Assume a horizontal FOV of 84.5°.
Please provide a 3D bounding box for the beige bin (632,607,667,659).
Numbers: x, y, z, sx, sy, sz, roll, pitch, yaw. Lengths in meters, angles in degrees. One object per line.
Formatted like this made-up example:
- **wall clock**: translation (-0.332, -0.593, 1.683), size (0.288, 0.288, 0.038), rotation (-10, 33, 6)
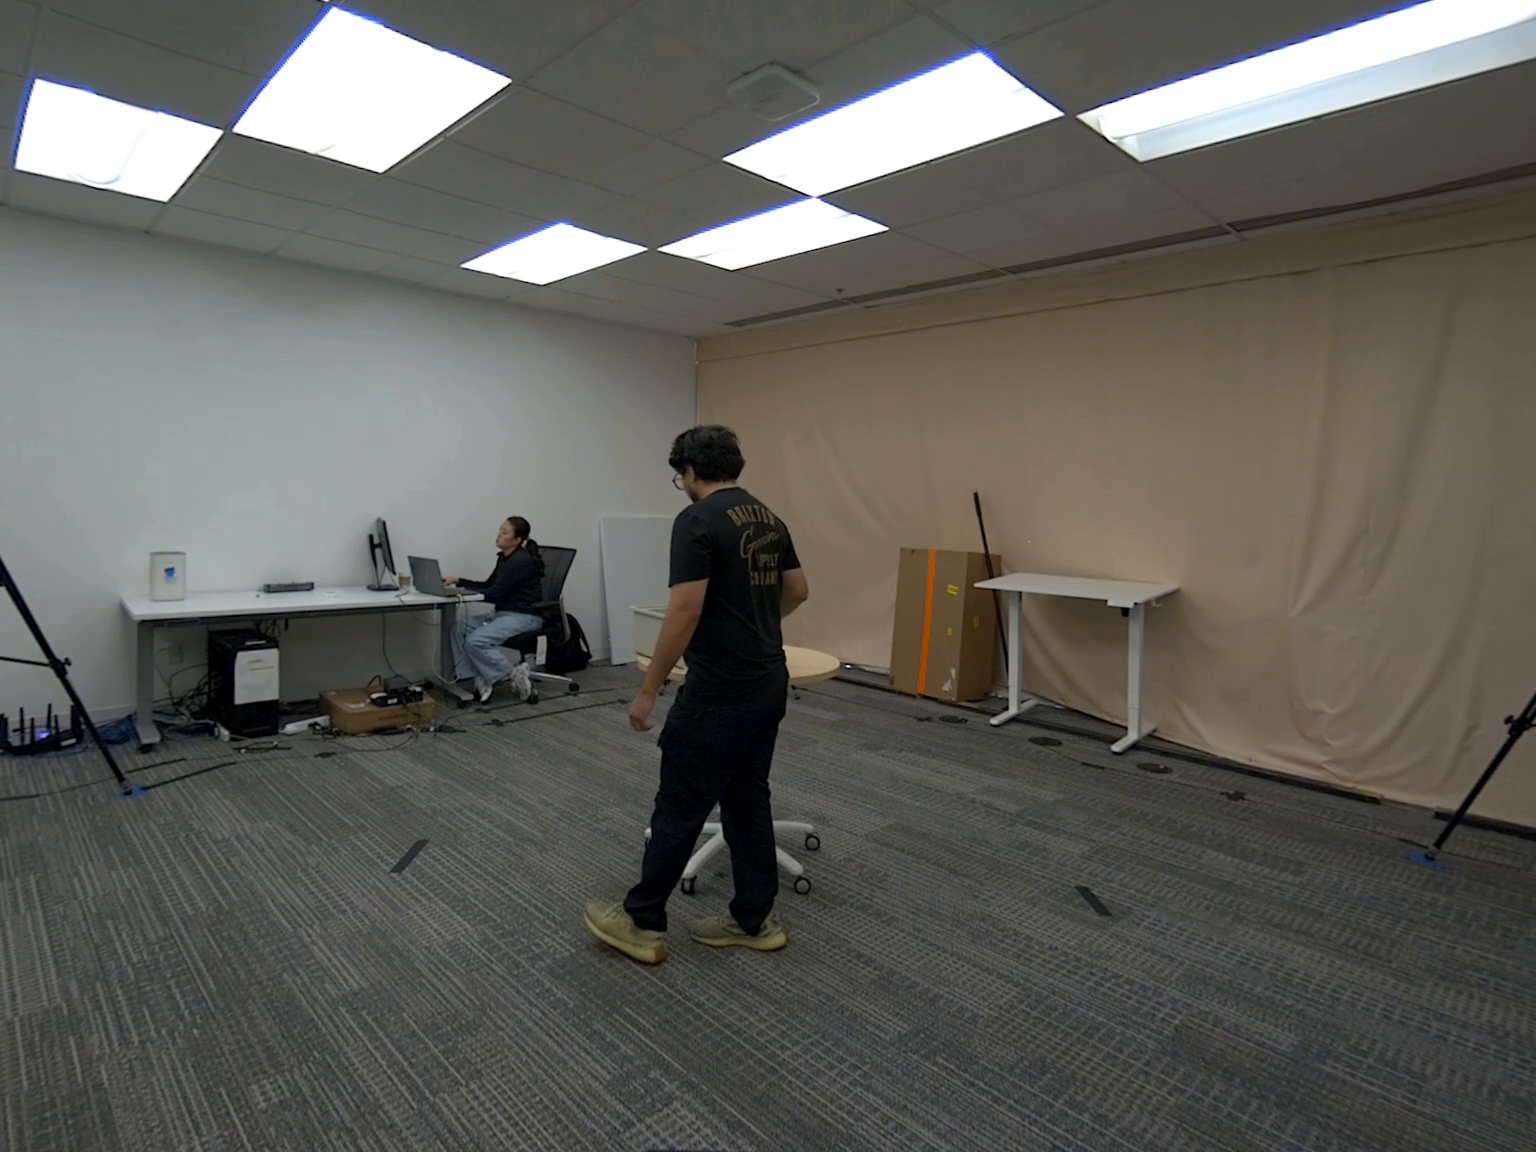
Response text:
- **beige bin**: translation (-0.261, 0.224, 3.154), size (0.369, 0.188, 0.433), rotation (-3, 7, -35)
